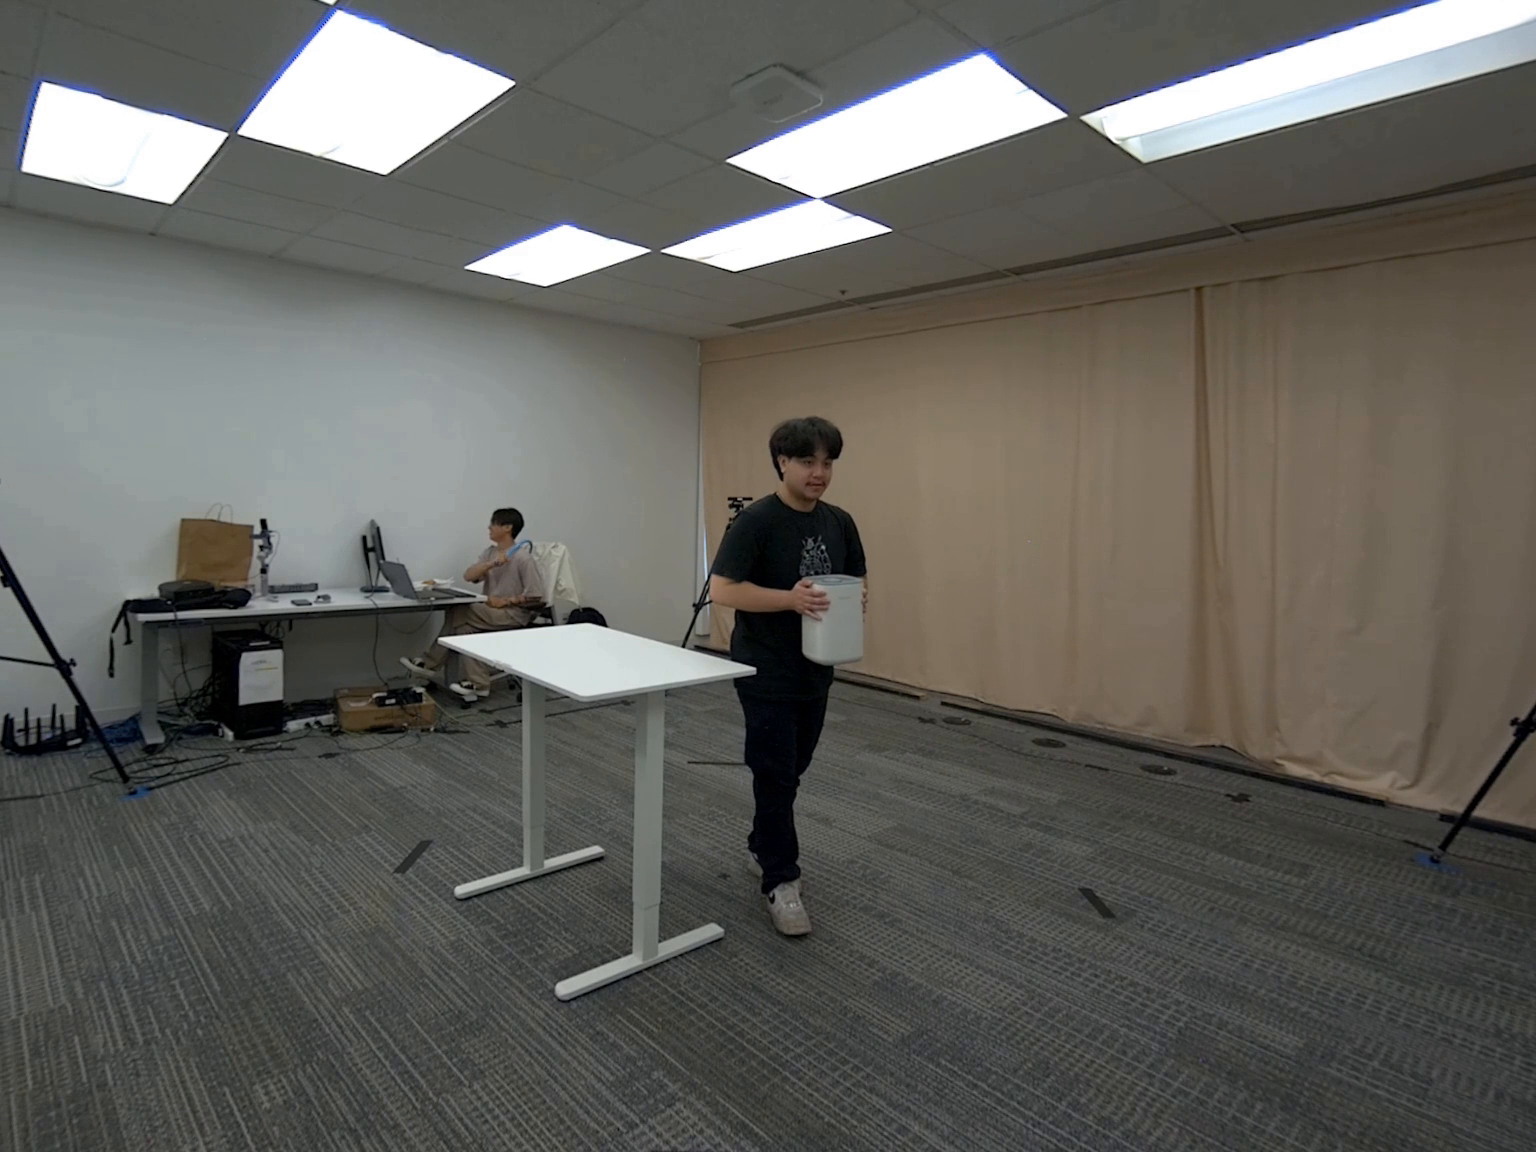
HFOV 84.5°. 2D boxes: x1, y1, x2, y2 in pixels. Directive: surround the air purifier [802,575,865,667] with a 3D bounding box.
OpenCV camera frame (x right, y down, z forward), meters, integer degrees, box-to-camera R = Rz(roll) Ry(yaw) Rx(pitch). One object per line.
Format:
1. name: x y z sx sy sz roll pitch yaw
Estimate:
1. air purifier: 0.184 0.139 2.693 0.169 0.264 0.175 -3 7 -19
